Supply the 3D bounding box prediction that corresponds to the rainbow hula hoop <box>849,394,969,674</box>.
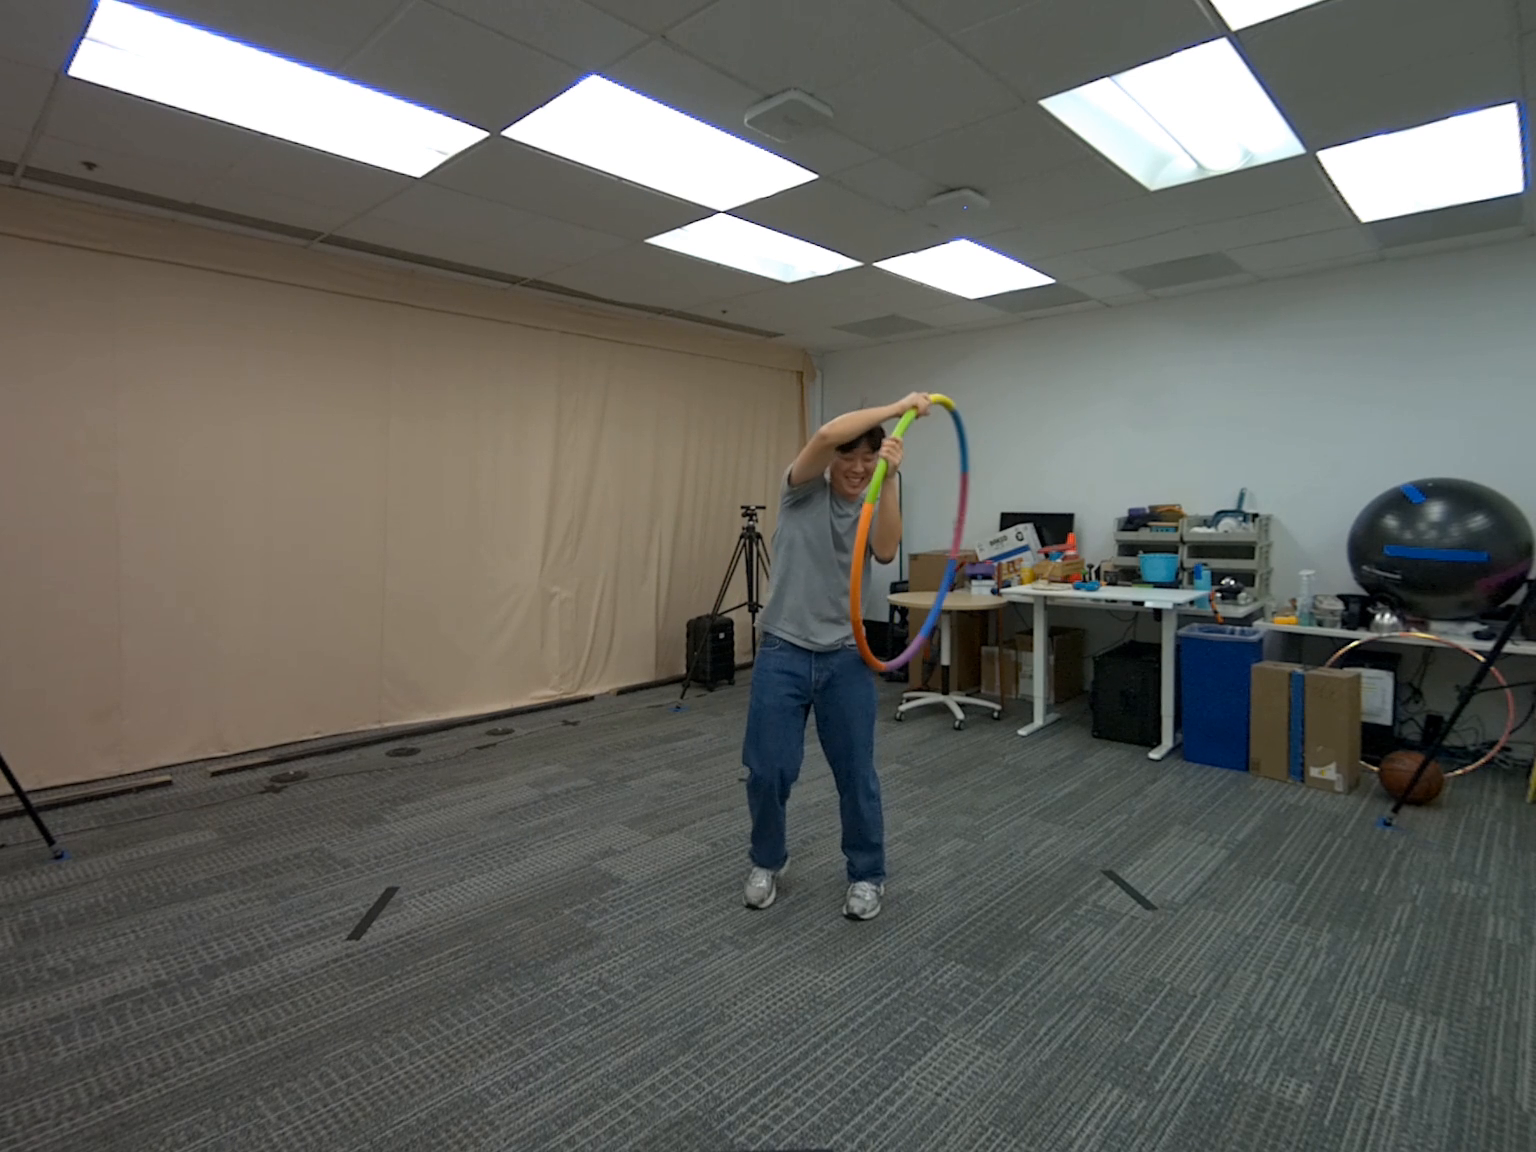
[{"bbox_3d":[0.523,-0.118,2.969,0.037,0.974,0.951,15,11,31],"label":"rainbow hula hoop"}]
